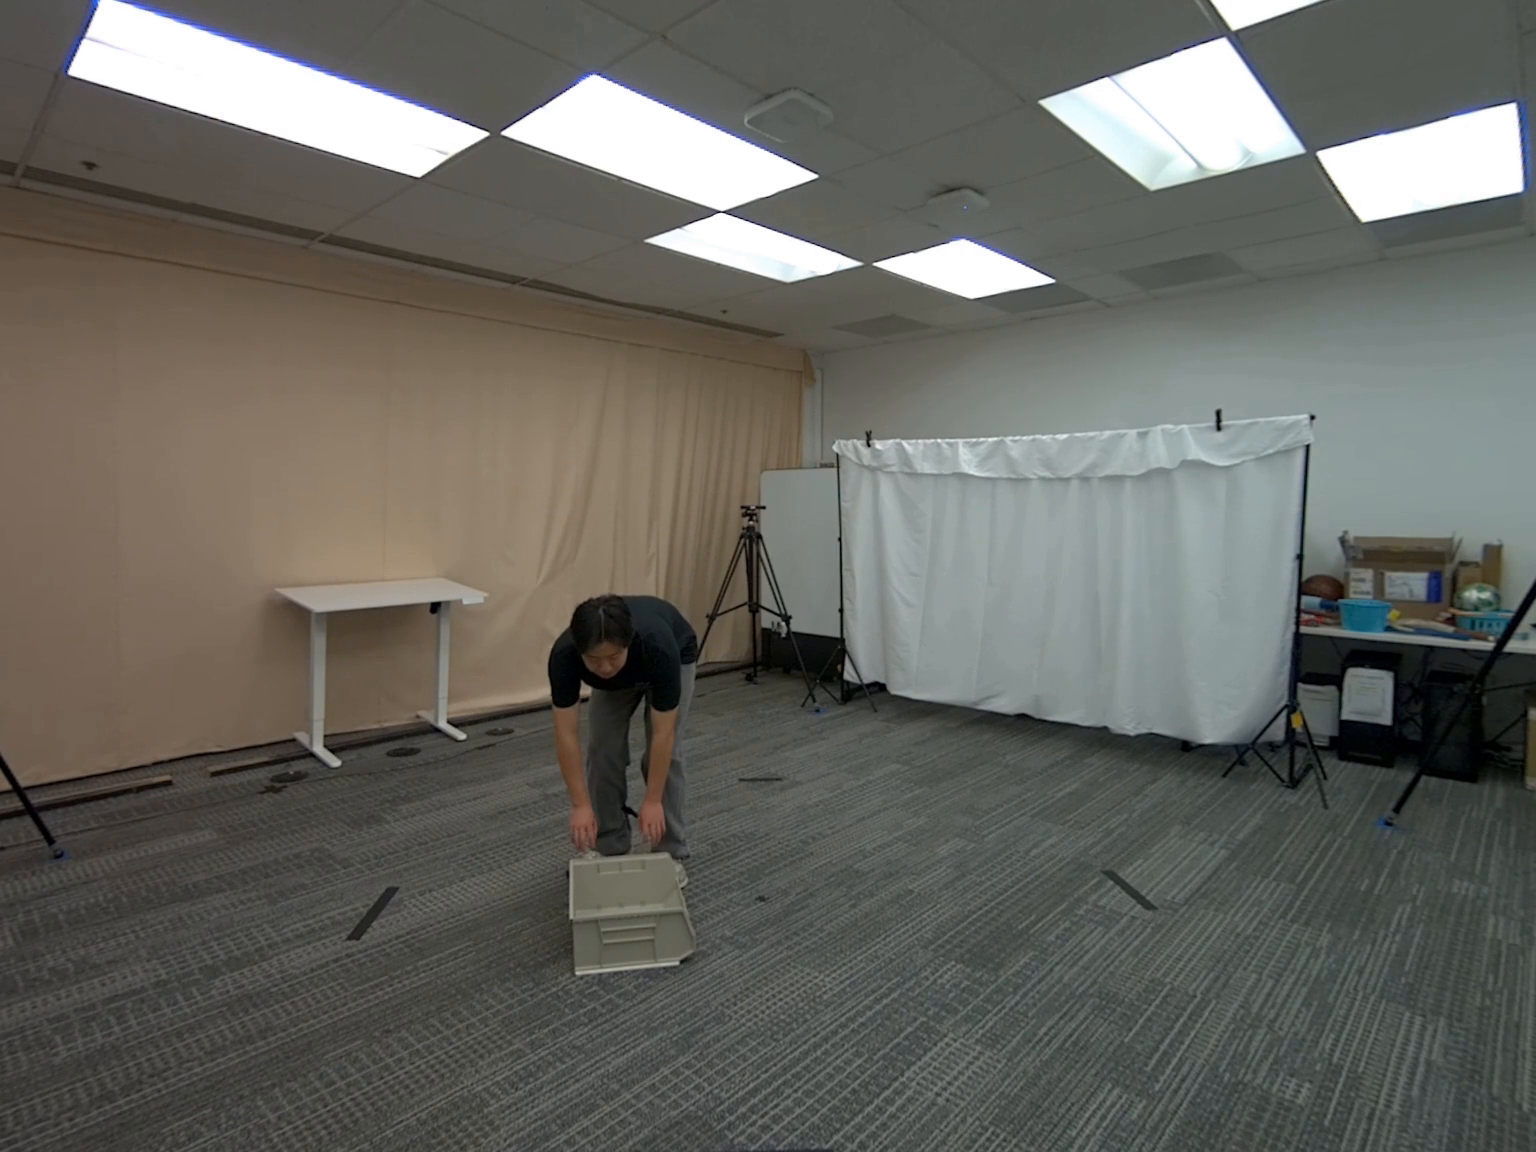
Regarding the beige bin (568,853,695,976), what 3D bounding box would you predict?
[{"bbox_3d":[-0.451,1.083,2.727,0.373,0.188,0.428,-2,5,-12],"label":"beige bin"}]
